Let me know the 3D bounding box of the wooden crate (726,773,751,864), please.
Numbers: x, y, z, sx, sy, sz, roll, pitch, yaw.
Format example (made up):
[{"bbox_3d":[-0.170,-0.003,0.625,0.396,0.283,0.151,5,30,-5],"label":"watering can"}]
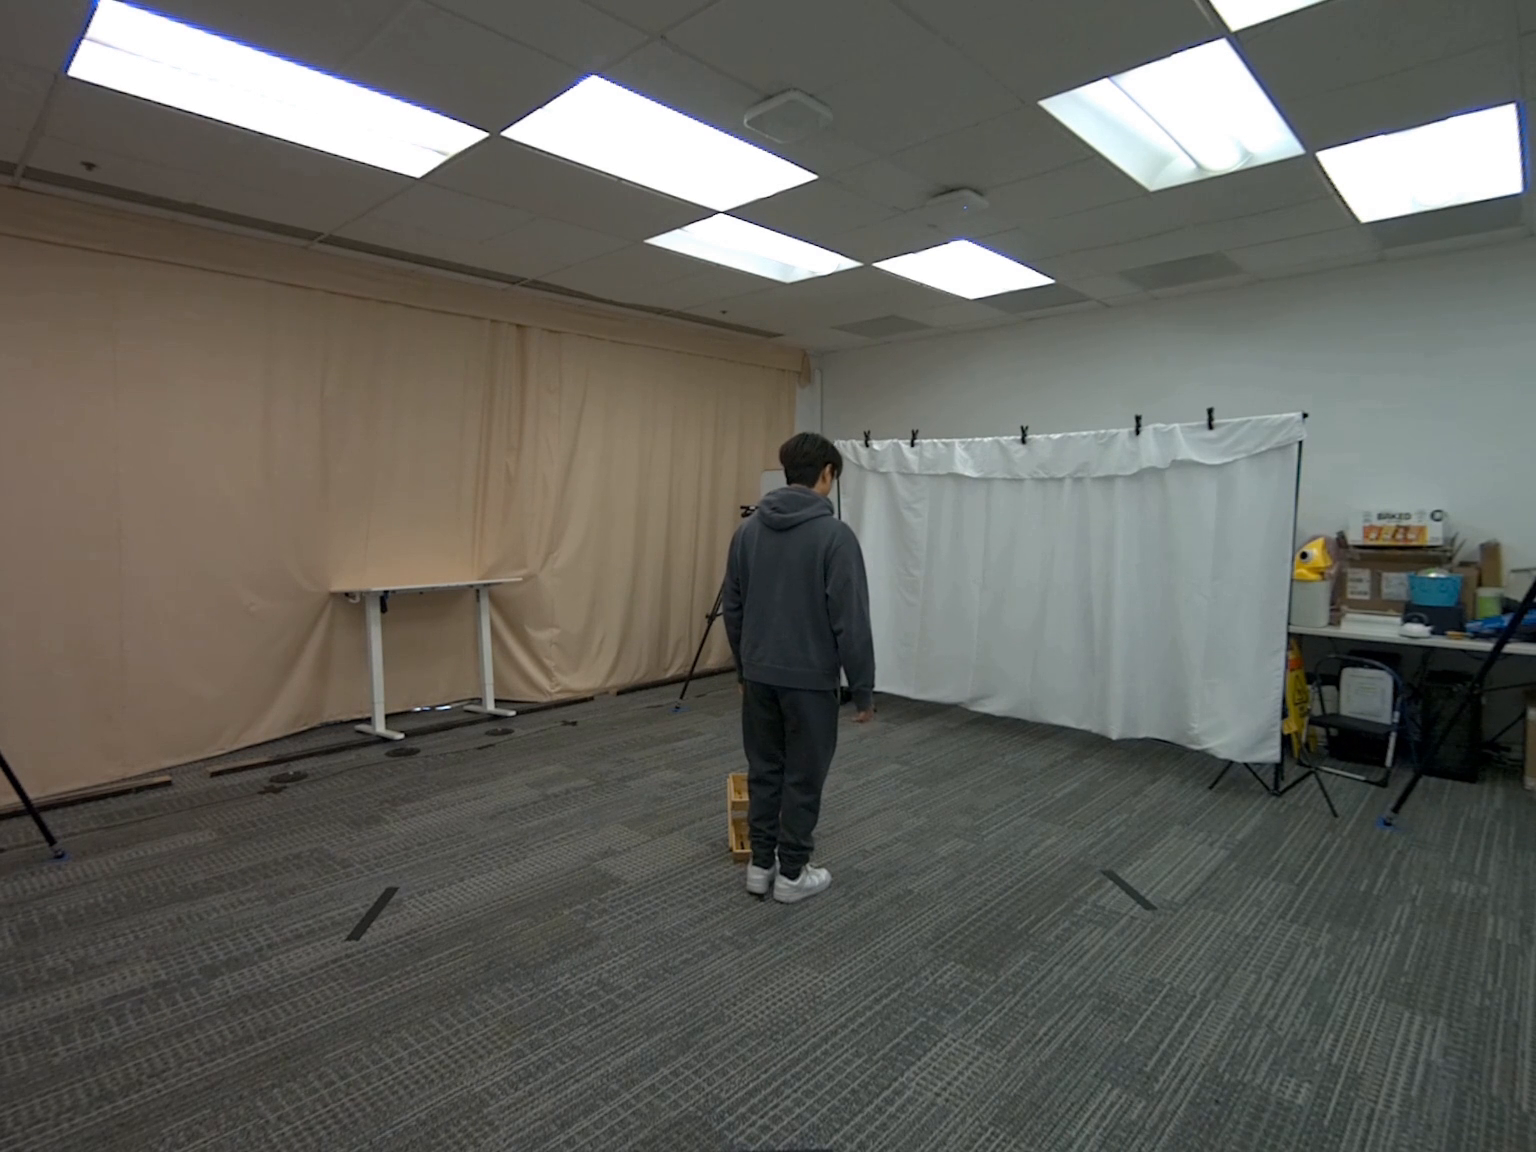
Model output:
[{"bbox_3d":[0.003,0.973,3.416,0.323,0.273,0.304,0,3,-4],"label":"wooden crate"}]
